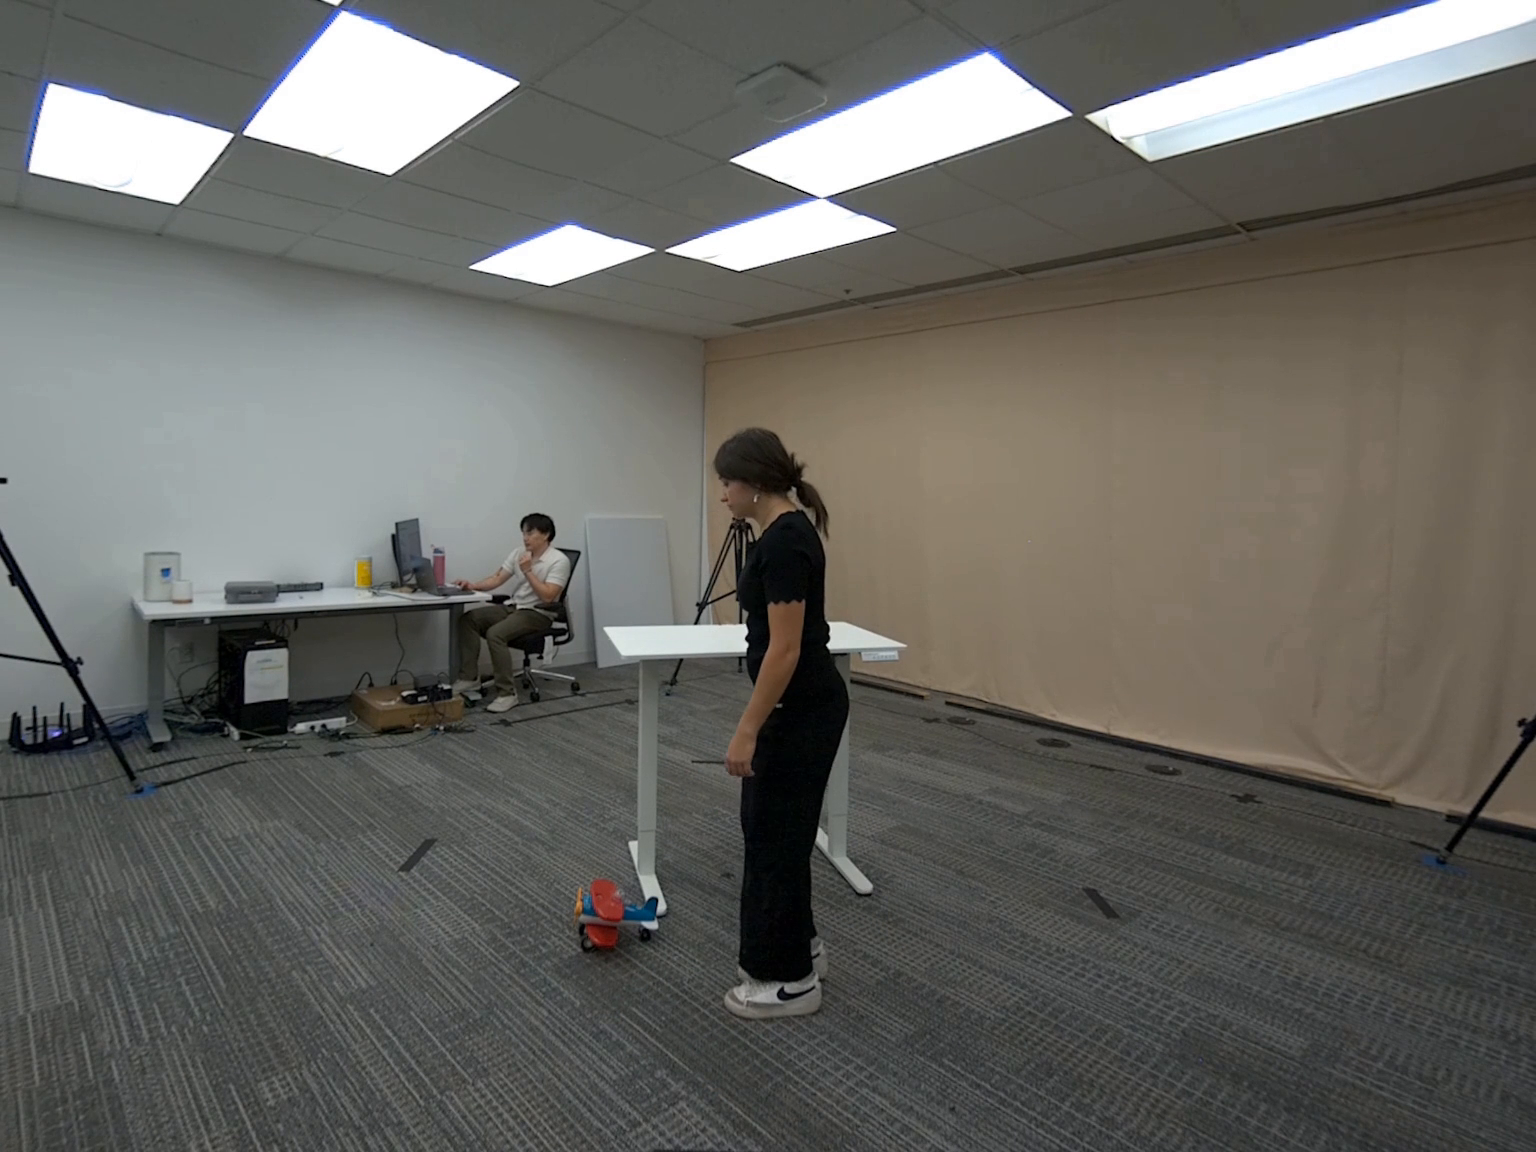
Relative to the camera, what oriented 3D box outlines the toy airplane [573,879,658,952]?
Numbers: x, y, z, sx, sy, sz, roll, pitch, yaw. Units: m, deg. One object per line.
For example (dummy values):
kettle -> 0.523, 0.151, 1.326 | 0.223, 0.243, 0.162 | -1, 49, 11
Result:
toy airplane -> -0.489, 1.065, 2.641 | 0.253, 0.156, 0.257 | -5, 9, -43
